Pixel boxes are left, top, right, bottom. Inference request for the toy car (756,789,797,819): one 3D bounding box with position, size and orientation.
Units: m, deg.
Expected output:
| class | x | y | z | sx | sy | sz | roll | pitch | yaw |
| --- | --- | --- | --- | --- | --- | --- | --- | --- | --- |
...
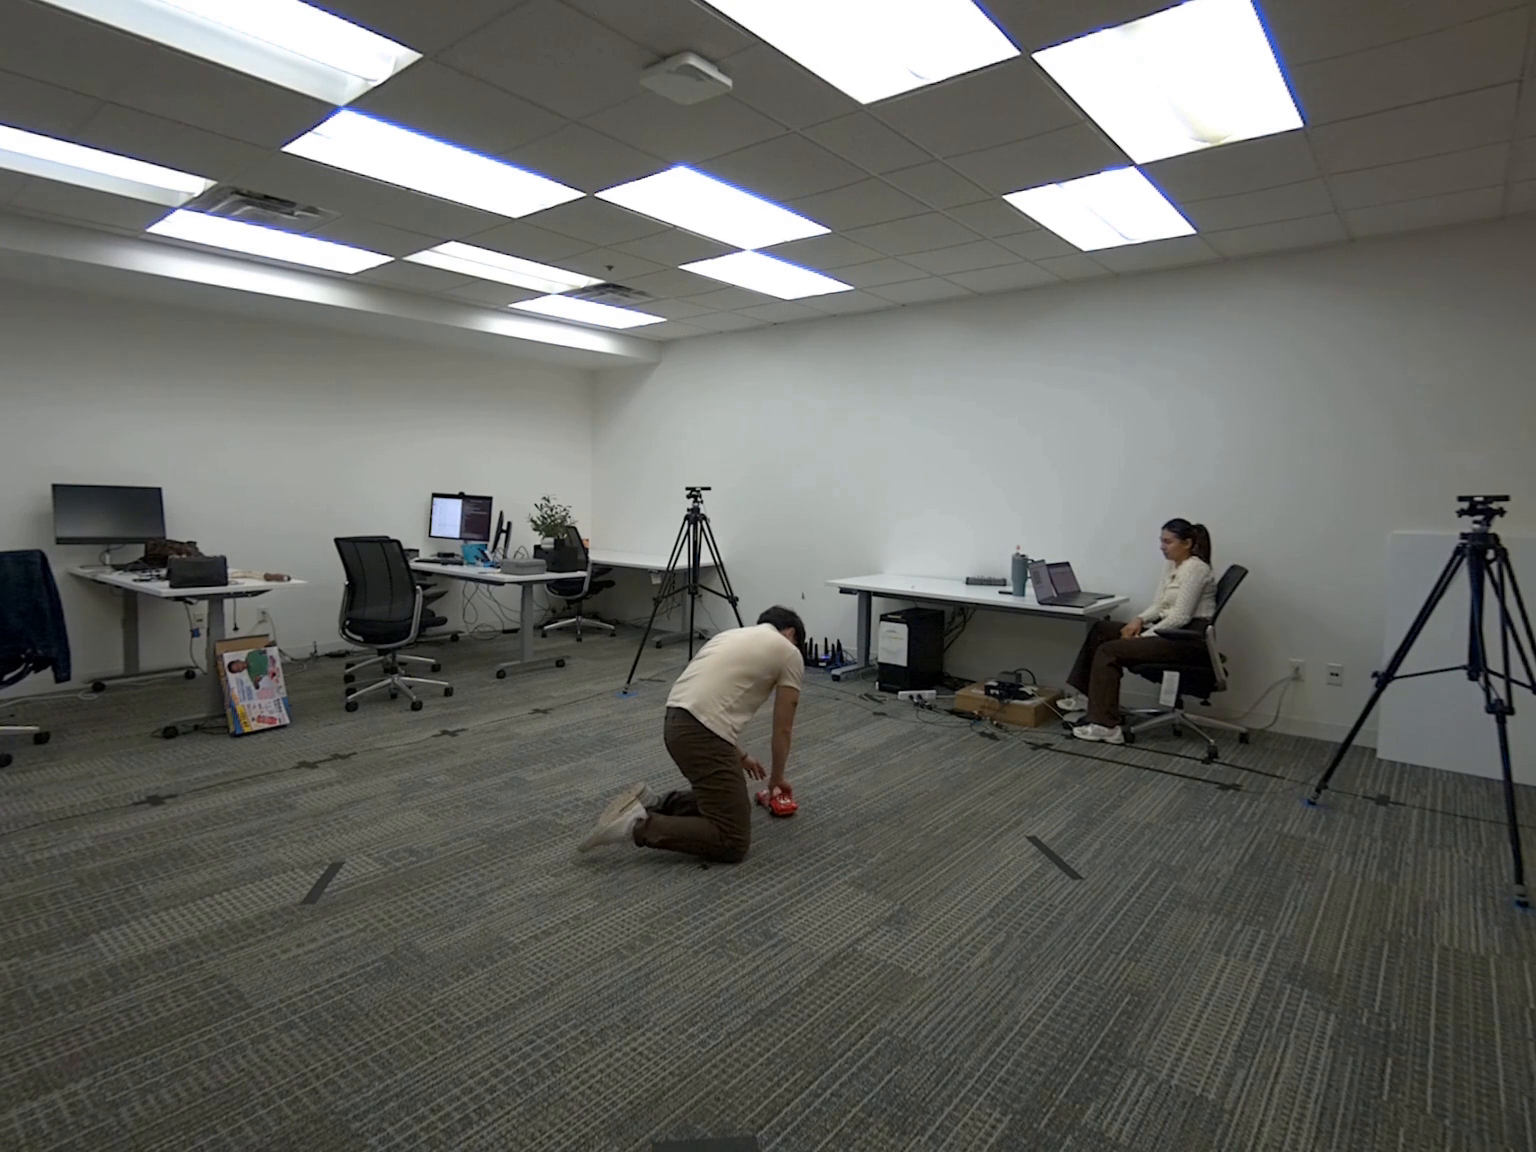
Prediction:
| class | x | y | z | sx | sy | sz | roll | pitch | yaw |
| --- | --- | --- | --- | --- | --- | --- | --- | --- | --- |
| toy car | 0.026 | 0.980 | 3.692 | 0.128 | 0.084 | 0.258 | 0 | -5 | -21 |
